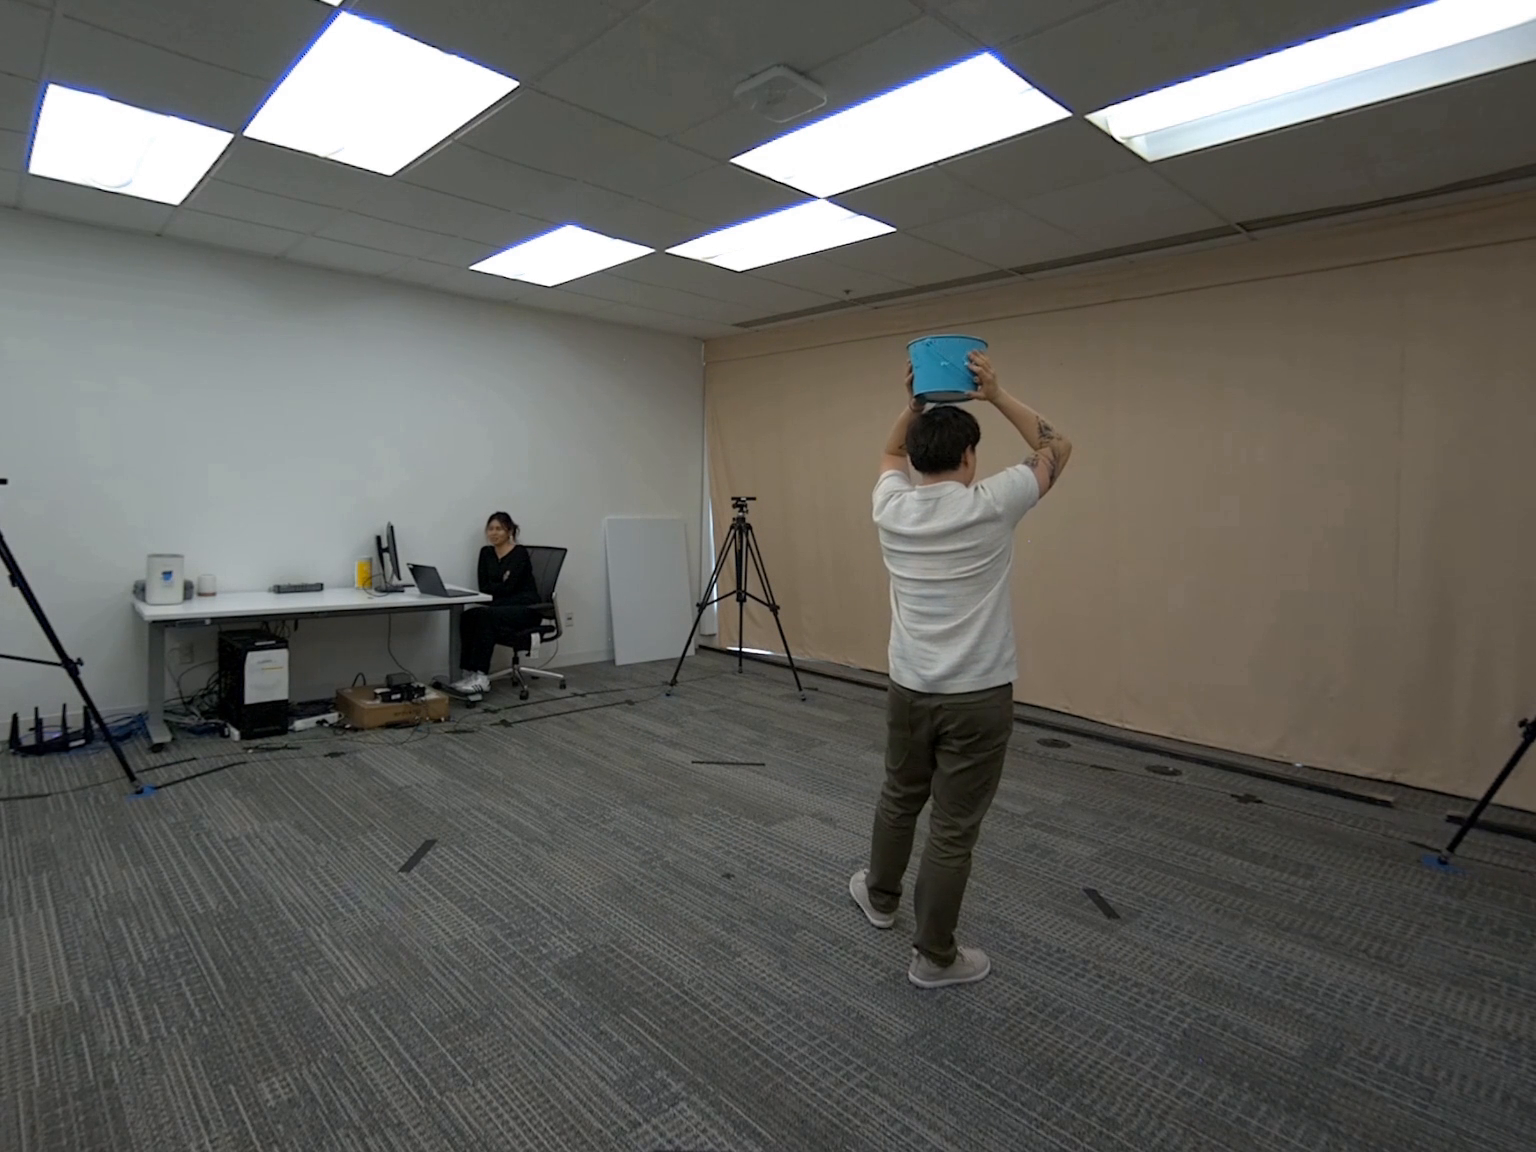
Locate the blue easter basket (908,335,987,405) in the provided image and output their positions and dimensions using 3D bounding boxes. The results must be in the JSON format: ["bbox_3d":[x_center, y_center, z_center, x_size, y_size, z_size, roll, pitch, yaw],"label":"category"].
[{"bbox_3d":[0.534,-0.599,2.459,0.243,0.156,0.244,3,0,-1],"label":"blue easter basket"}]
